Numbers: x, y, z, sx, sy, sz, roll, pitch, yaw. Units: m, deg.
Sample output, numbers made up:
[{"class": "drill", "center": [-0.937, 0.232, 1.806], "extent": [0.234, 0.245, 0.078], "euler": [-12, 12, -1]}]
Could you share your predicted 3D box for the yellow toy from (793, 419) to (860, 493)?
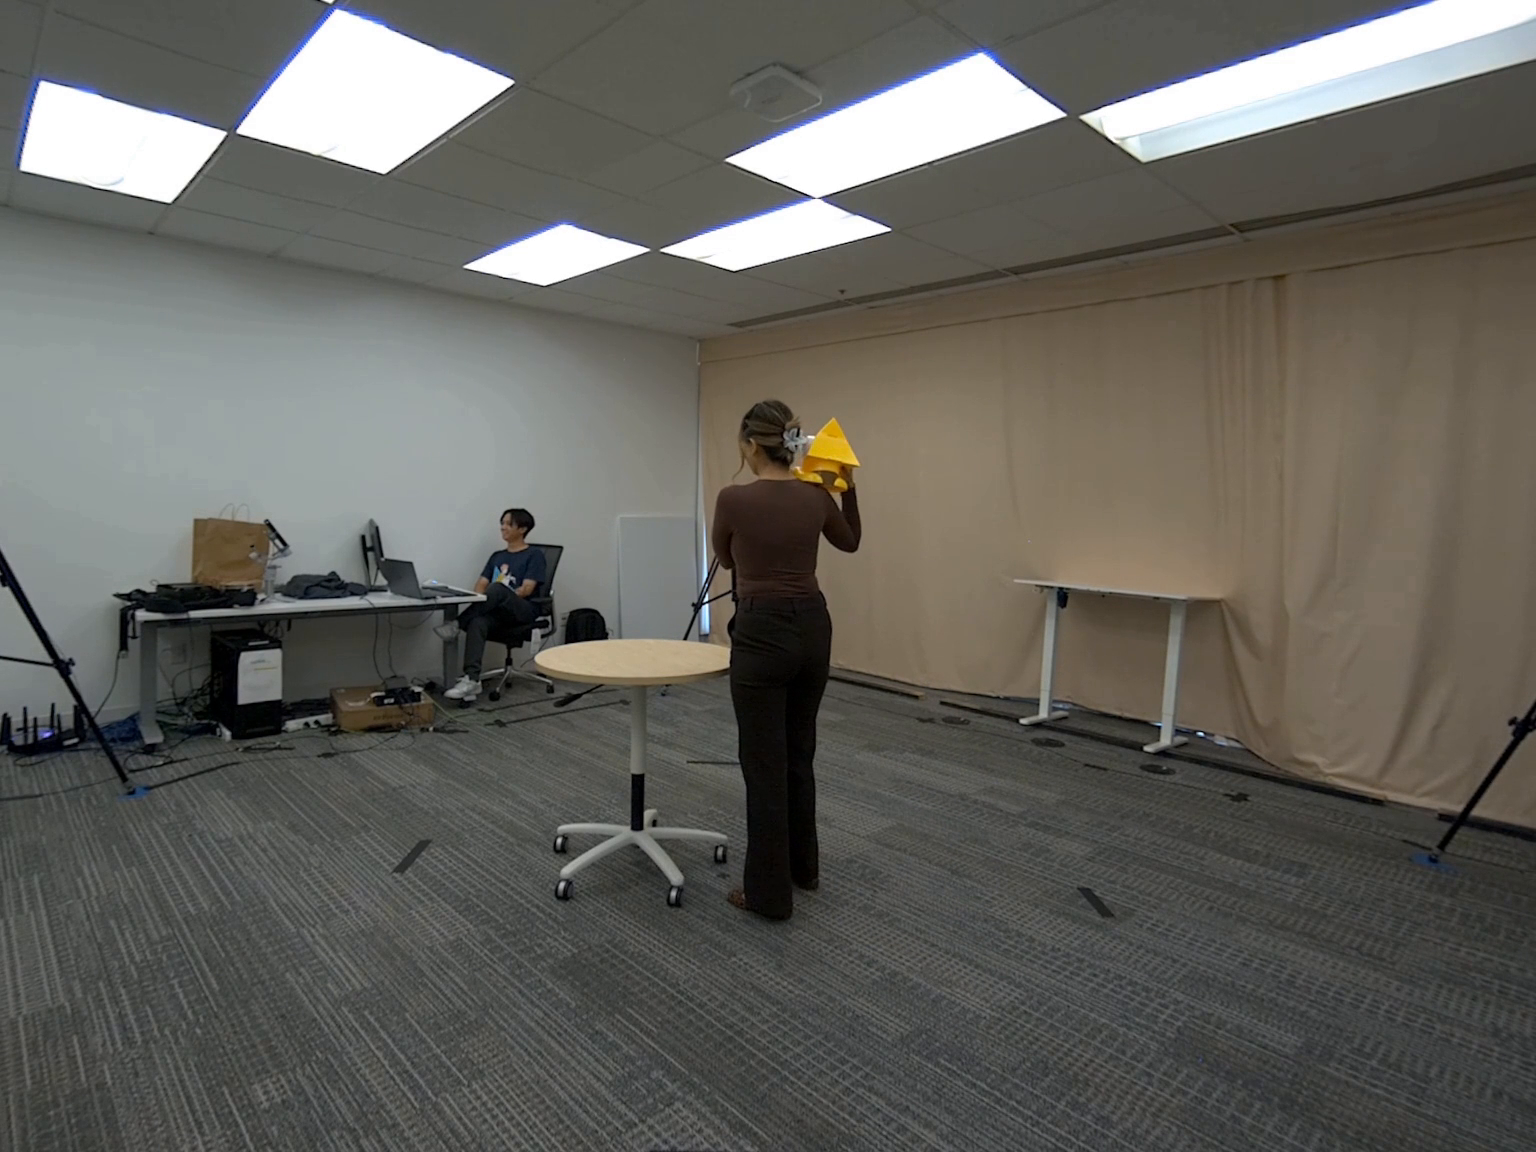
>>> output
[{"class": "yellow toy", "center": [0.182, -0.418, 2.887], "extent": [0.200, 0.231, 0.196], "euler": [8, -6, -26]}]
